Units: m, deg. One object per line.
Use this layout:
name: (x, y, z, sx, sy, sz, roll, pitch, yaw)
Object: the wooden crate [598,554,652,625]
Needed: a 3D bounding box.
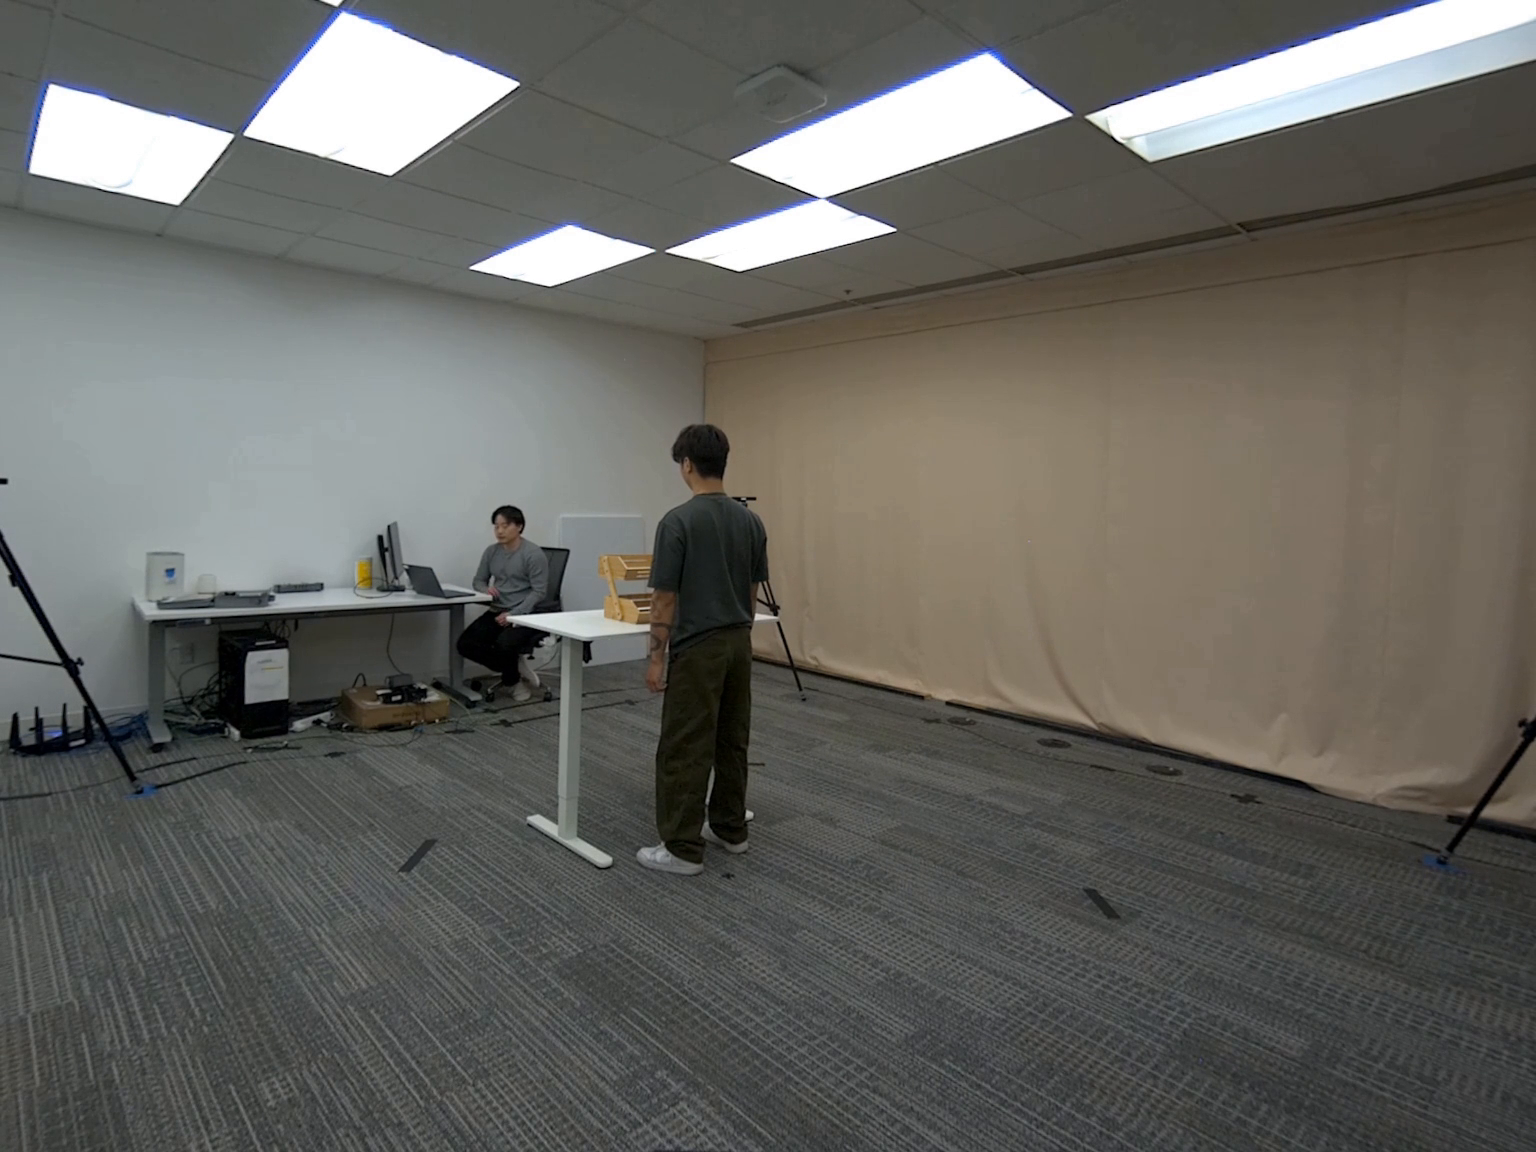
wooden crate: (-0.512, 0.043, 3.544, 0.317, 0.273, 0.310, -1, 4, -44)
